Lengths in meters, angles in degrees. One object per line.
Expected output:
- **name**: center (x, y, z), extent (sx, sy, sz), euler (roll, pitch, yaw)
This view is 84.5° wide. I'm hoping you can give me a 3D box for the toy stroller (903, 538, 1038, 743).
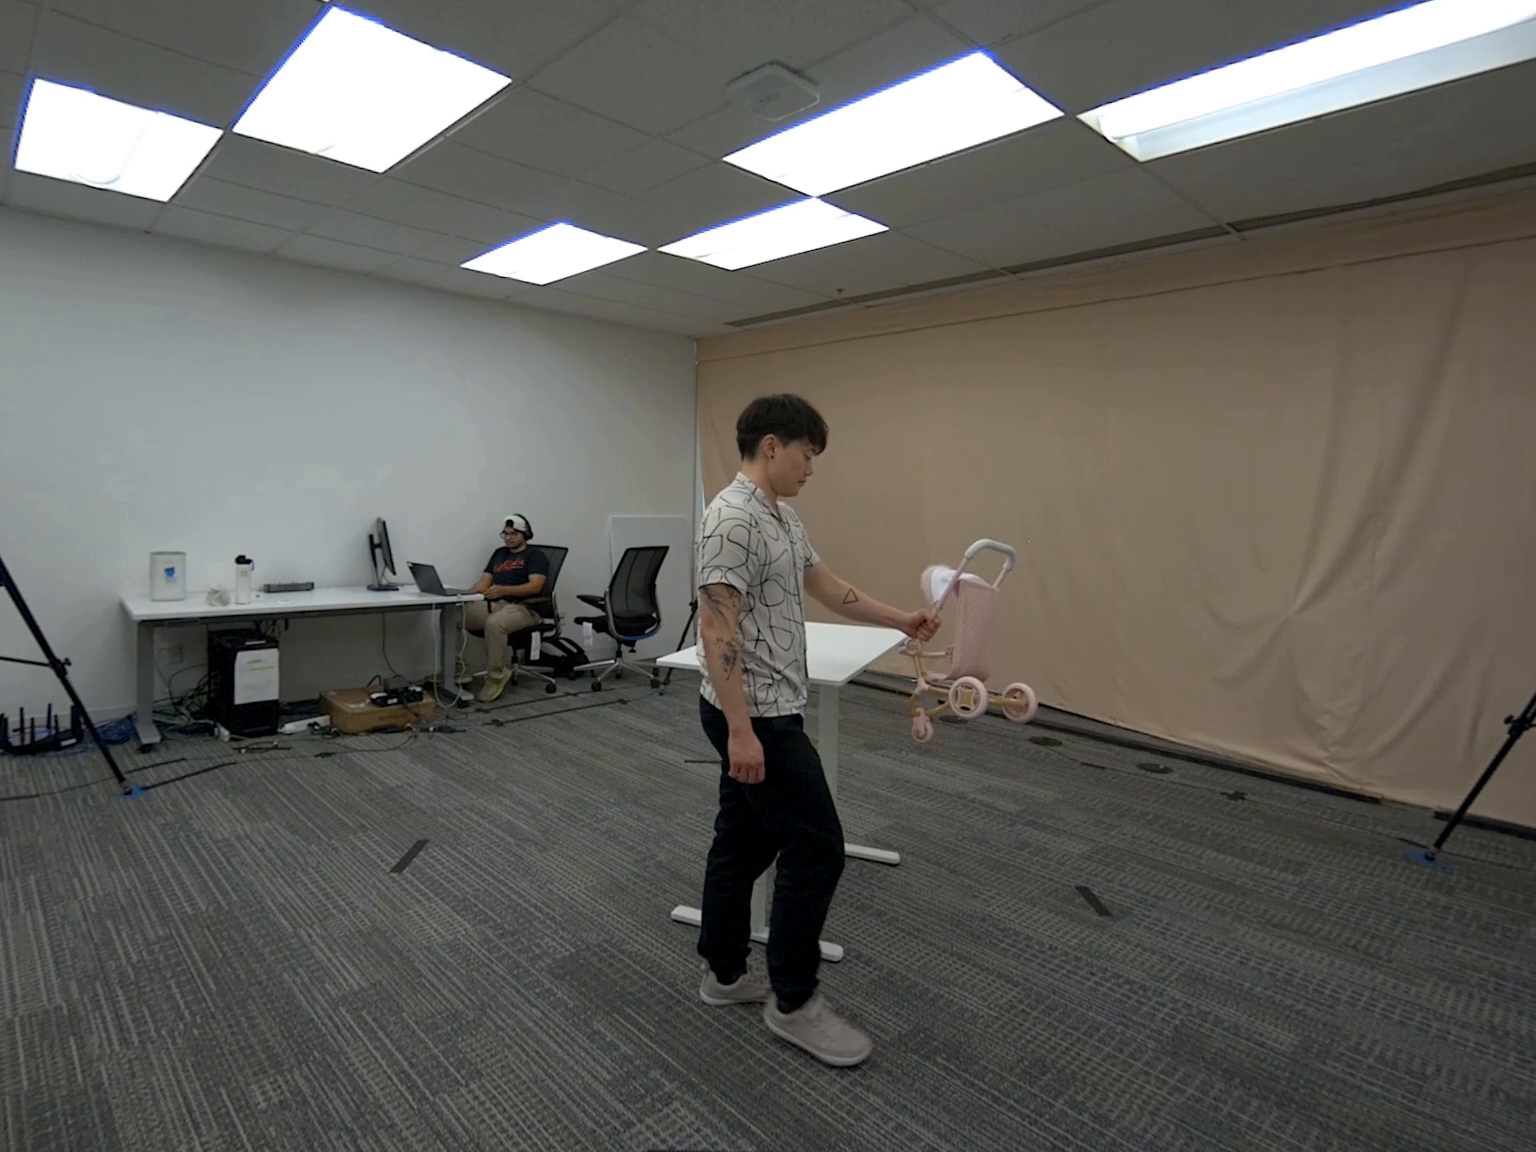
- **toy stroller**: center (0.521, 0.200, 2.355), extent (0.274, 0.540, 0.347), euler (11, -18, -37)
